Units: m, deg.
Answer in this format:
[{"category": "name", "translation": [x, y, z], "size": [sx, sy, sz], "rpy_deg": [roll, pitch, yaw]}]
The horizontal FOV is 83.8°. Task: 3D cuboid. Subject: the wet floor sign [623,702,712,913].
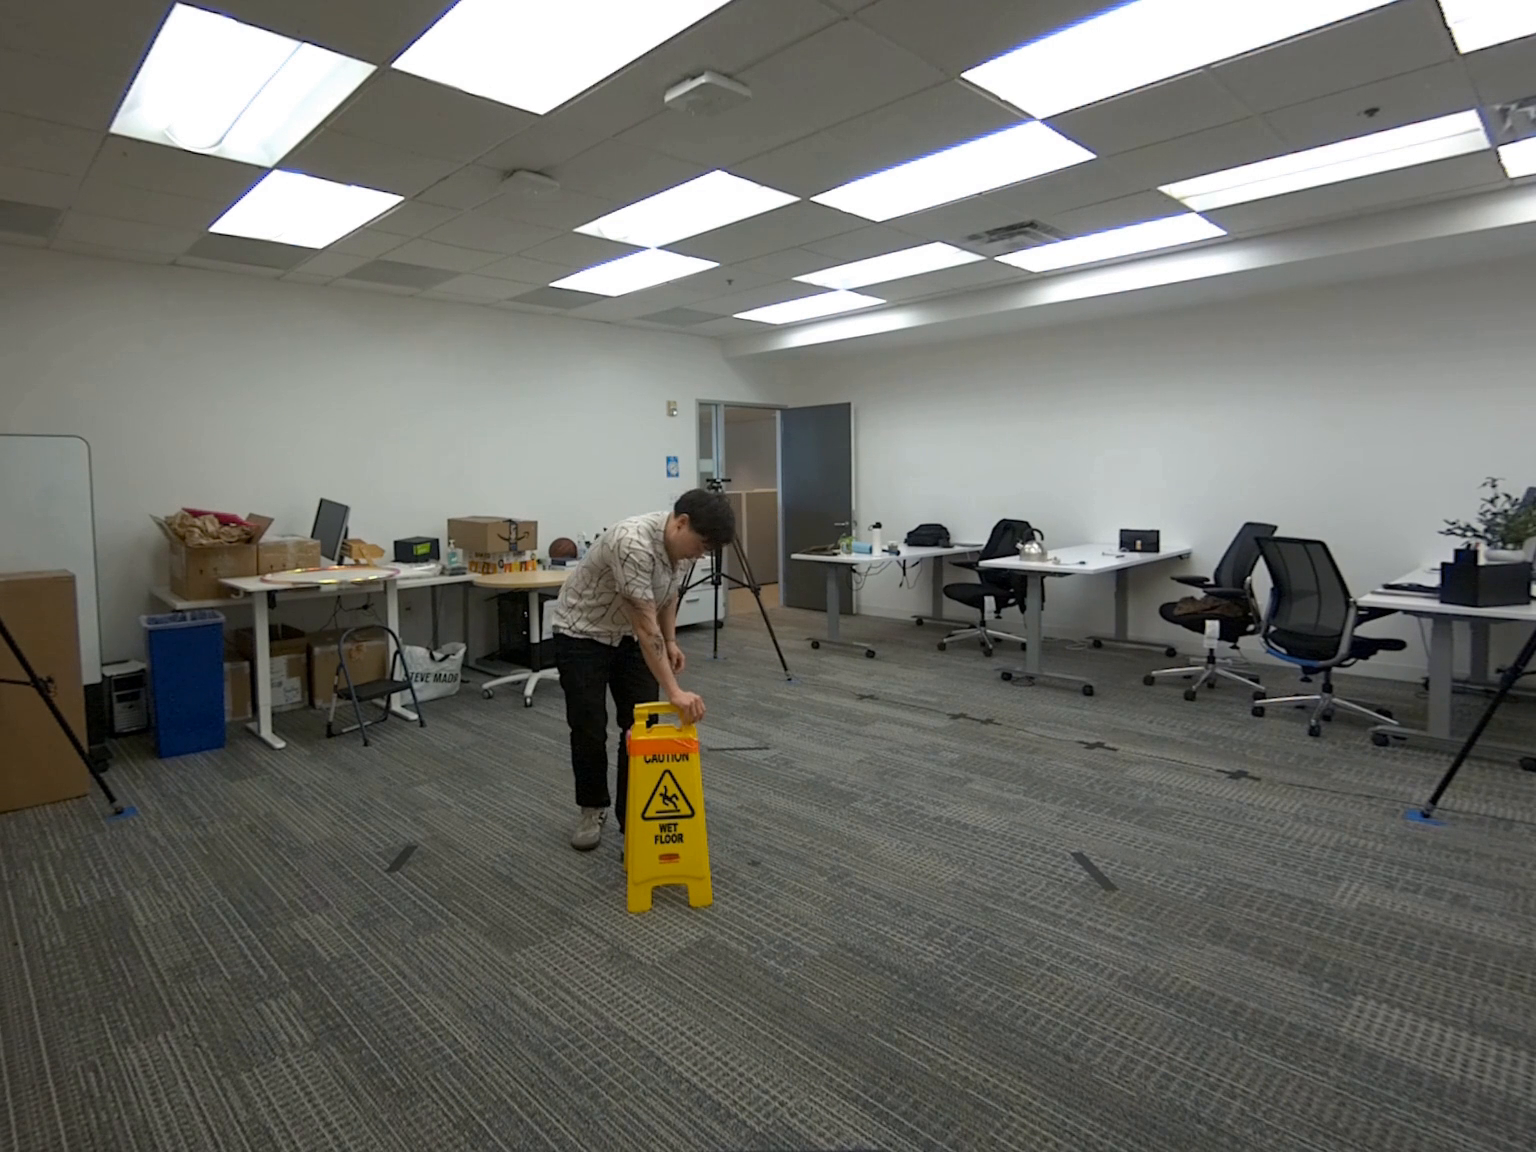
[{"category": "wet floor sign", "translation": [-0.351, 0.746, 2.914], "size": [0.280, 0.643, 0.293], "rpy_deg": [-3, 4, -10]}]
